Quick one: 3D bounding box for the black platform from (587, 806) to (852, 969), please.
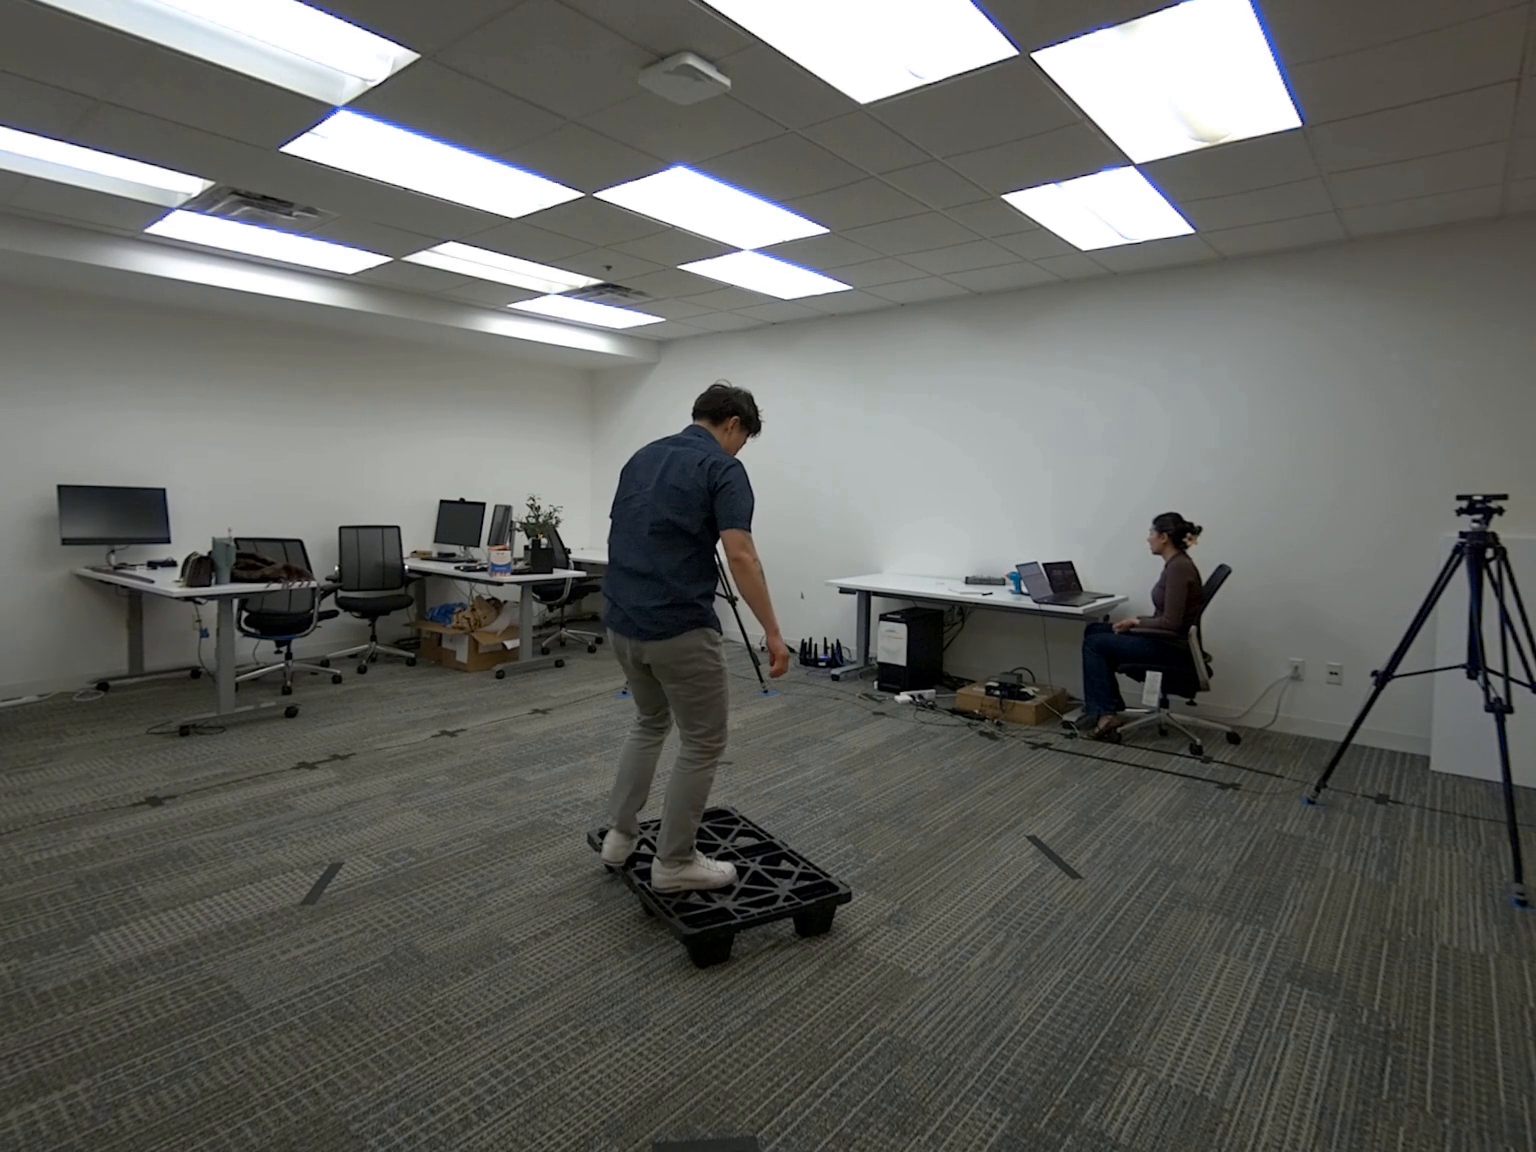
[{"bbox_3d":[-0.205,1.021,2.874,0.589,0.143,0.831,-3,7,-31],"label":"black platform"}]
